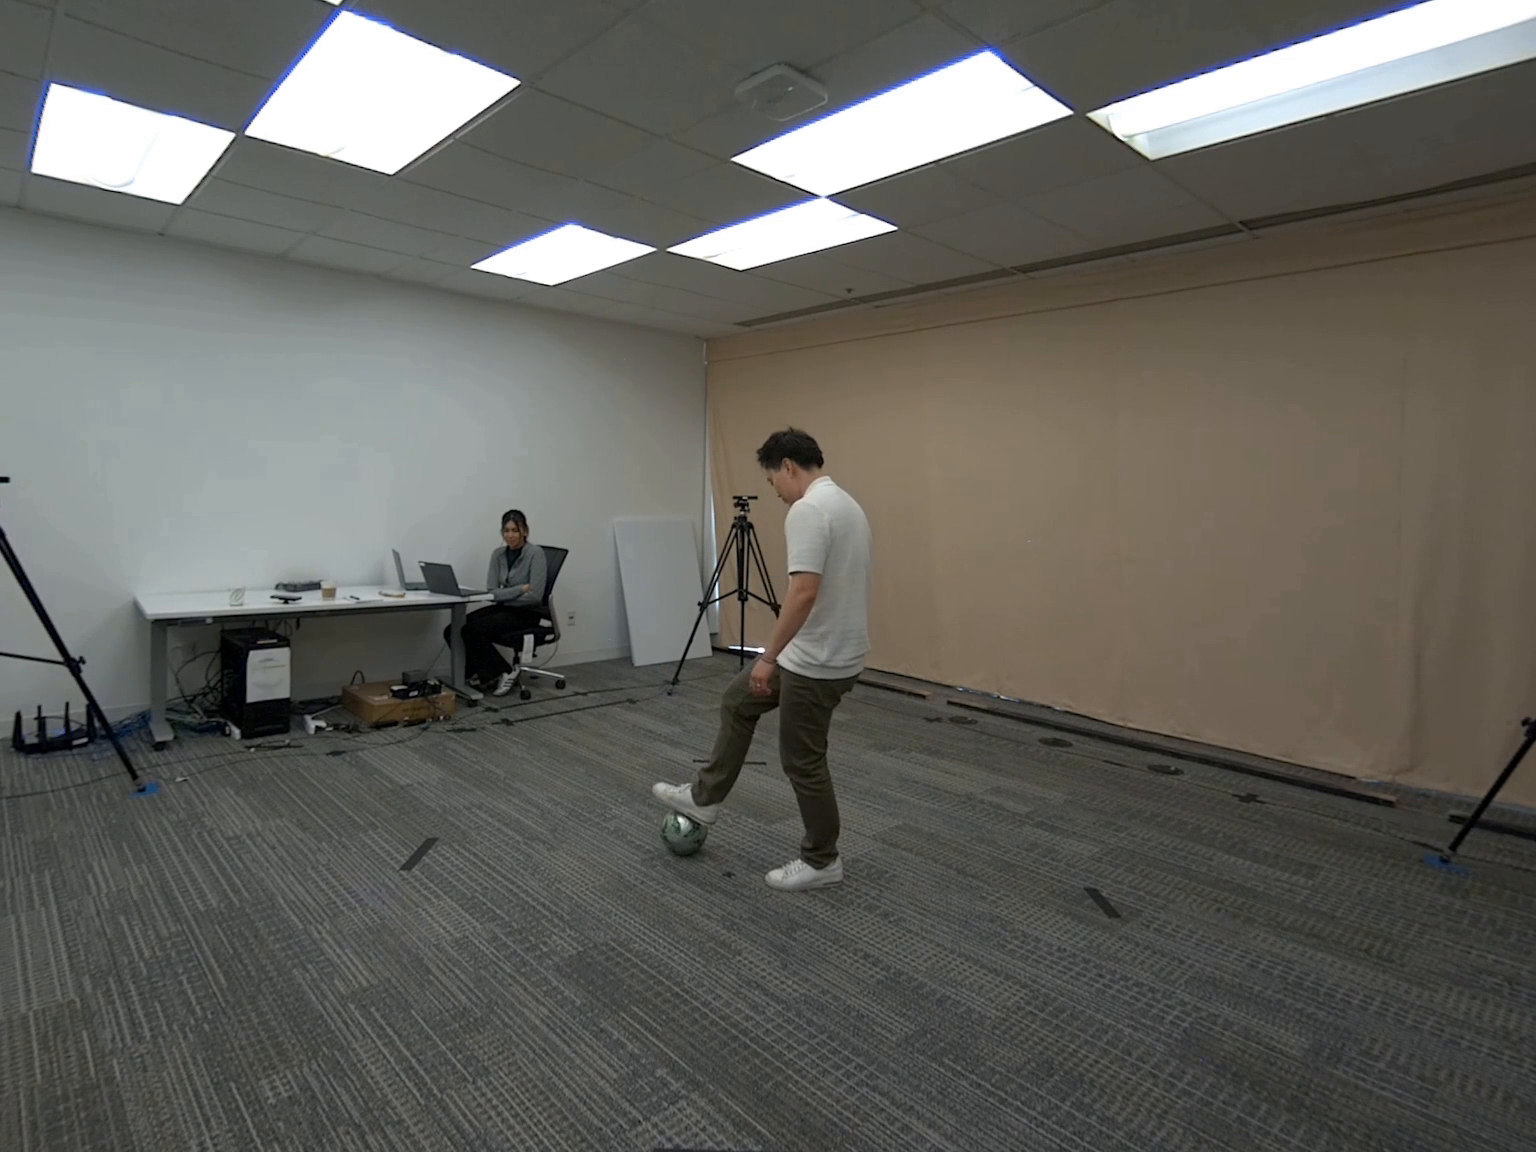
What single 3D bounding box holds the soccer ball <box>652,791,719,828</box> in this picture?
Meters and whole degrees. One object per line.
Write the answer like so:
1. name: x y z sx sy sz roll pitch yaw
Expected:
1. soccer ball: -0.321 0.993 3.283 0.187 0.187 0.188 1 4 -1
